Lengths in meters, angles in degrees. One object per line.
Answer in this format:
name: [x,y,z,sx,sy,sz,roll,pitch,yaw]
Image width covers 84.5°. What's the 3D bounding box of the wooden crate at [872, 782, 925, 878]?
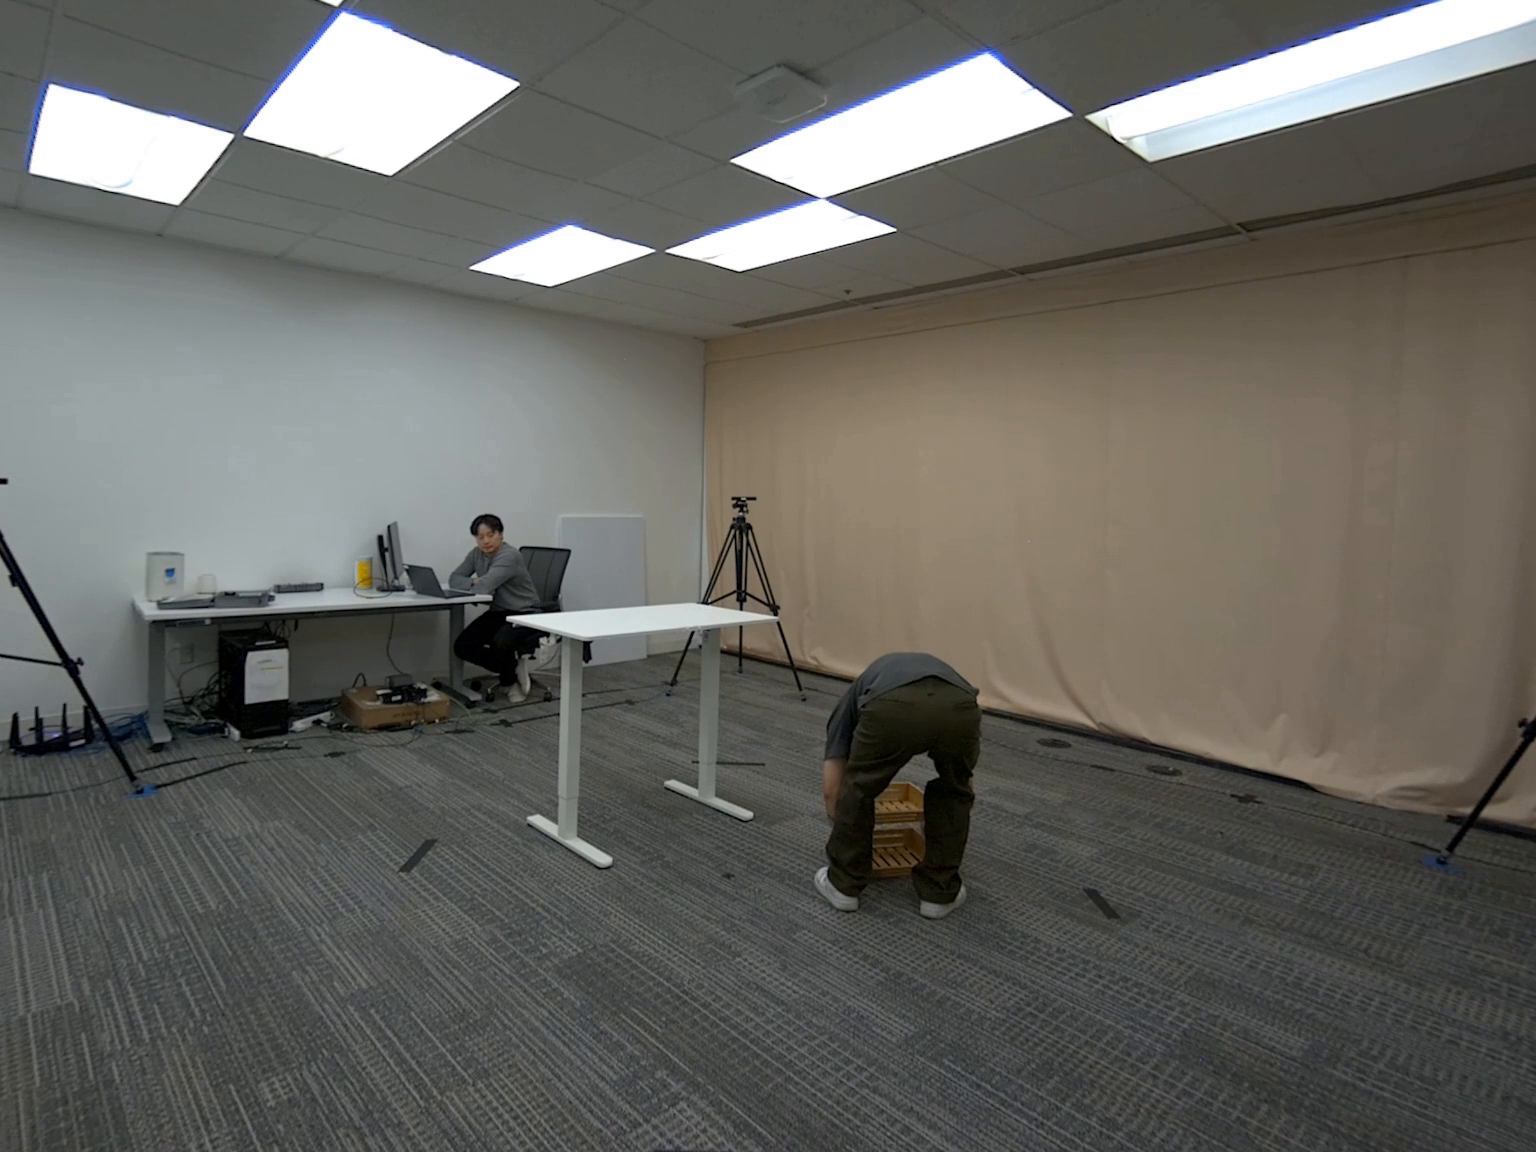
wooden crate: [0.470,0.985,3.258,0.321,0.272,0.306,0,4,-15]
